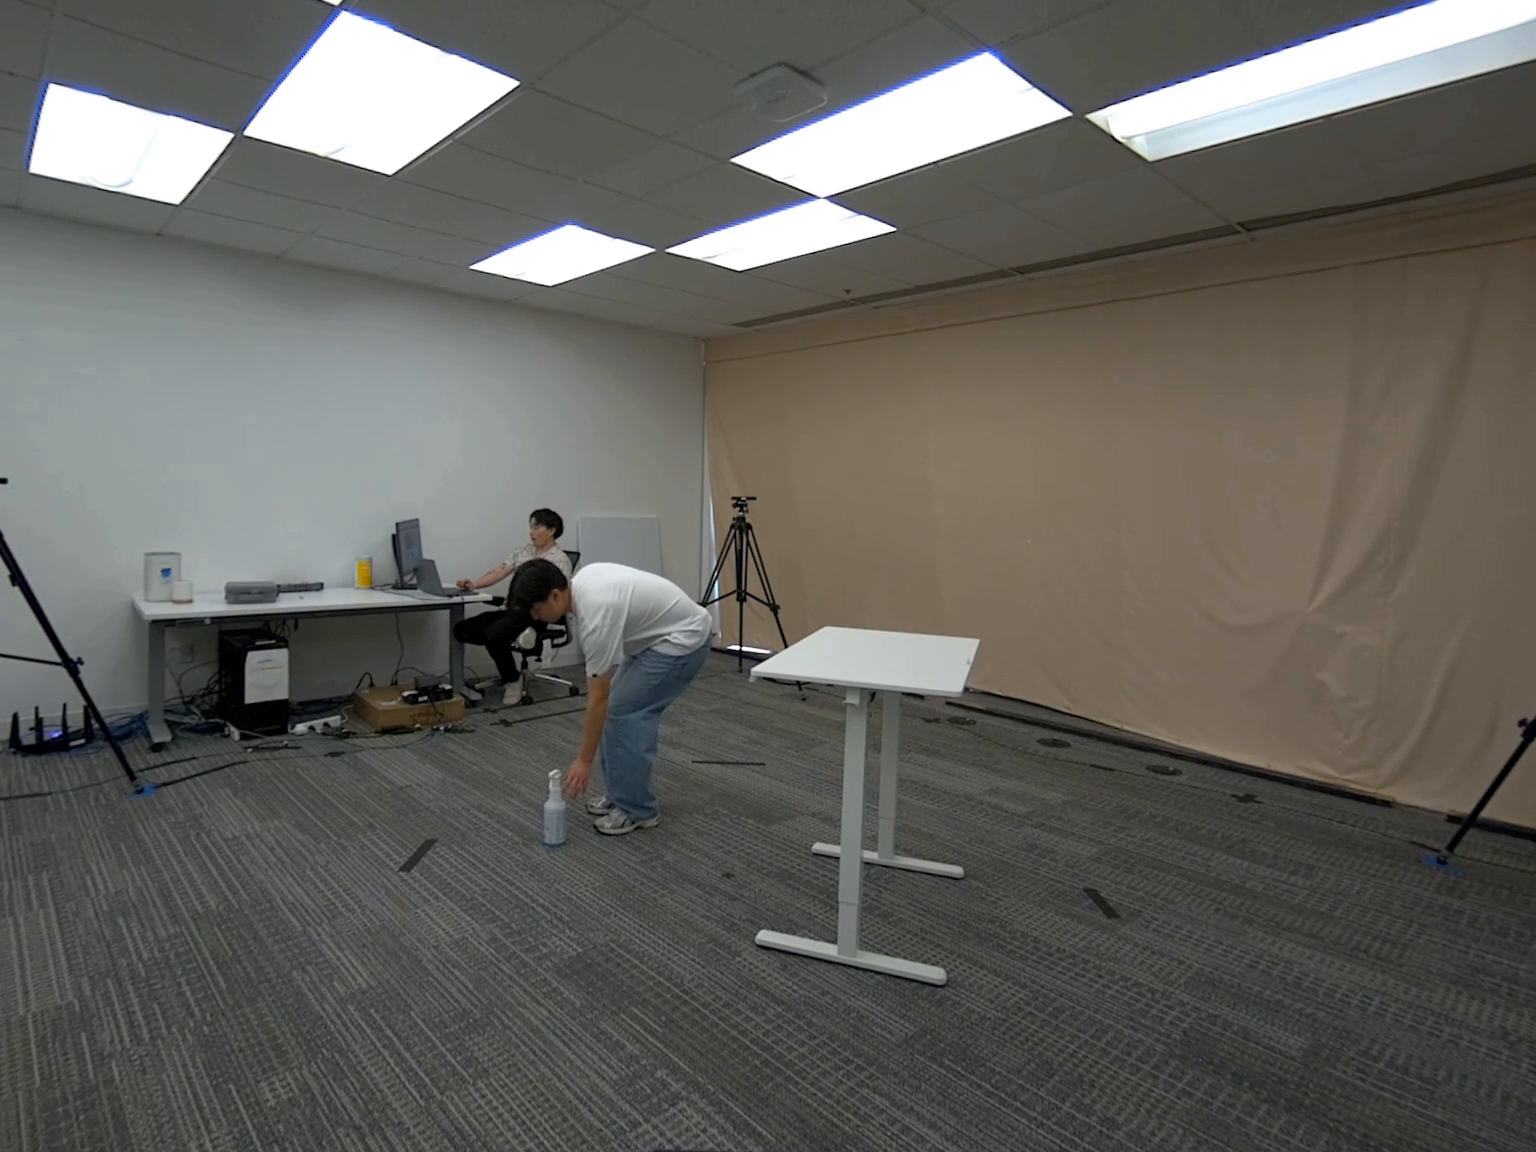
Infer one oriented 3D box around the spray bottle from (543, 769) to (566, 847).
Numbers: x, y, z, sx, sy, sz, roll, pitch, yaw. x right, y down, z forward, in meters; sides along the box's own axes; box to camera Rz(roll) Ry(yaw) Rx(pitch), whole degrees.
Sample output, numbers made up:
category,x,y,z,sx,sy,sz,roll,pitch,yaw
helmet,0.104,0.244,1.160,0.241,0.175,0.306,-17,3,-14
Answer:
category,x,y,z,sx,sy,sz,roll,pitch,yaw
spray bottle,-0.857,0.921,3.349,0.089,0.296,0.088,5,7,39
